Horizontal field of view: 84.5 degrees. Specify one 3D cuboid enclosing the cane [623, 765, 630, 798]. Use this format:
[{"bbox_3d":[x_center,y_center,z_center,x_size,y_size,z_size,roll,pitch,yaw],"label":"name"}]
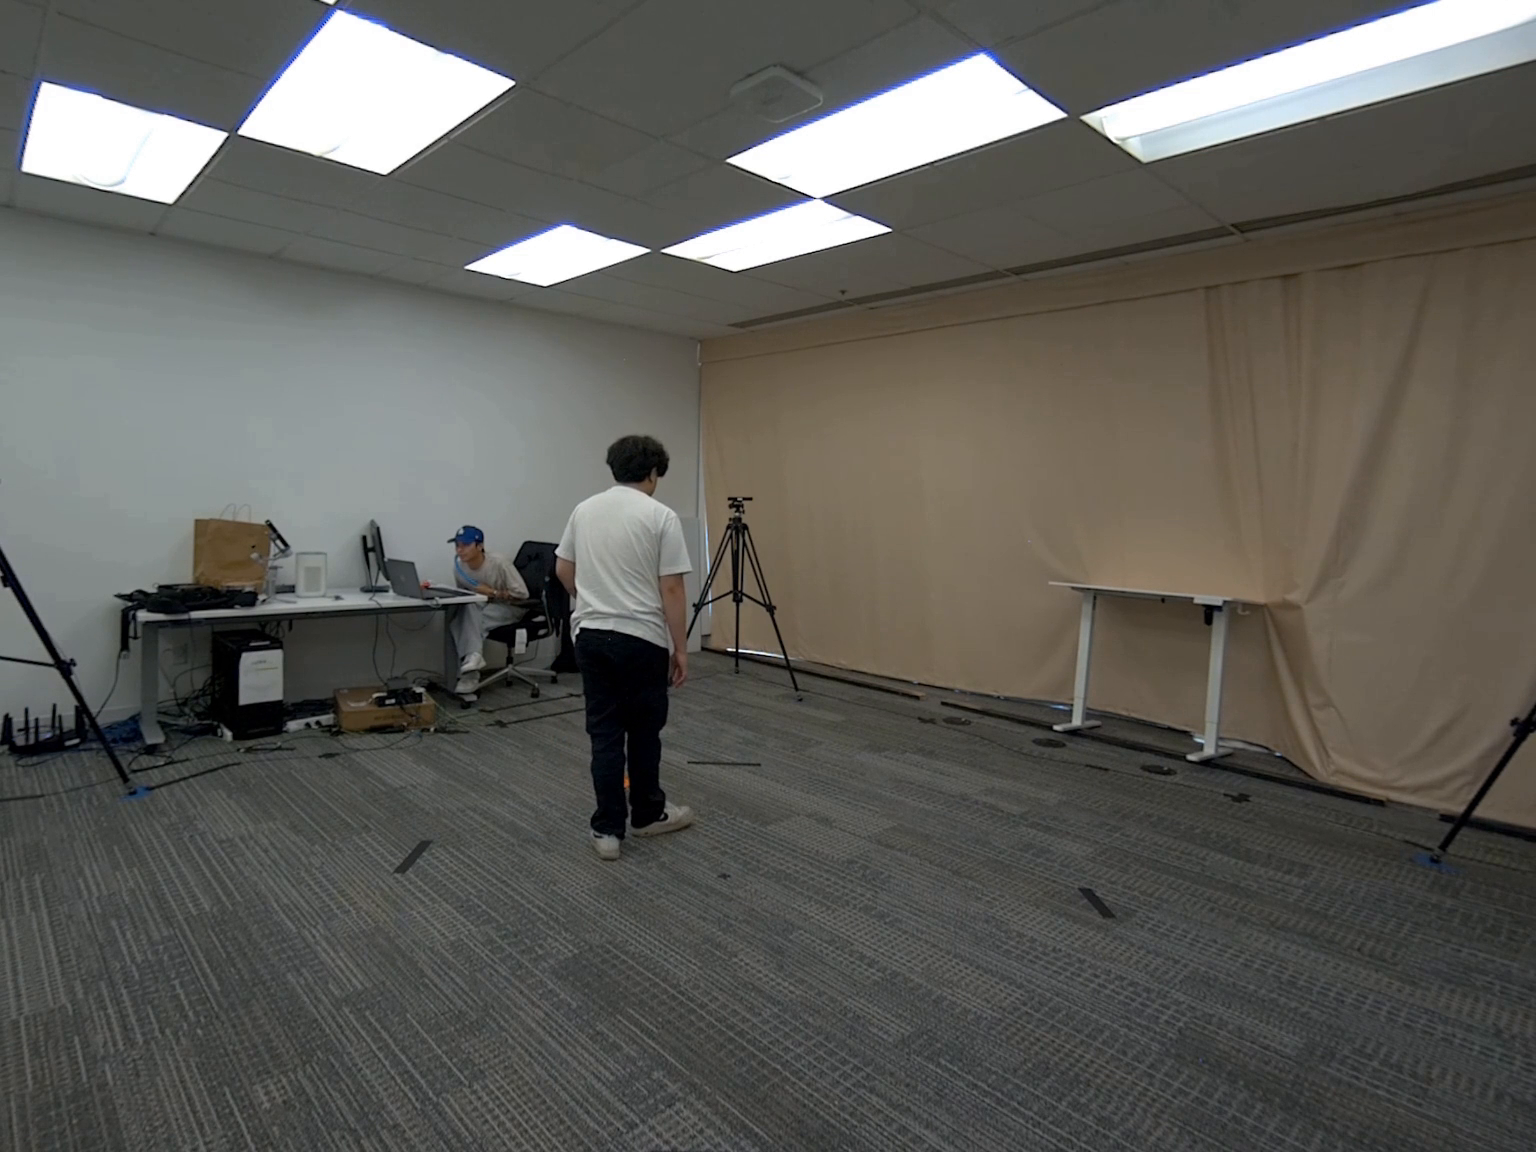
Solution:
[{"bbox_3d":[-0.668,0.577,3.786,0.155,0.900,0.204,6,13,28],"label":"cane"}]
